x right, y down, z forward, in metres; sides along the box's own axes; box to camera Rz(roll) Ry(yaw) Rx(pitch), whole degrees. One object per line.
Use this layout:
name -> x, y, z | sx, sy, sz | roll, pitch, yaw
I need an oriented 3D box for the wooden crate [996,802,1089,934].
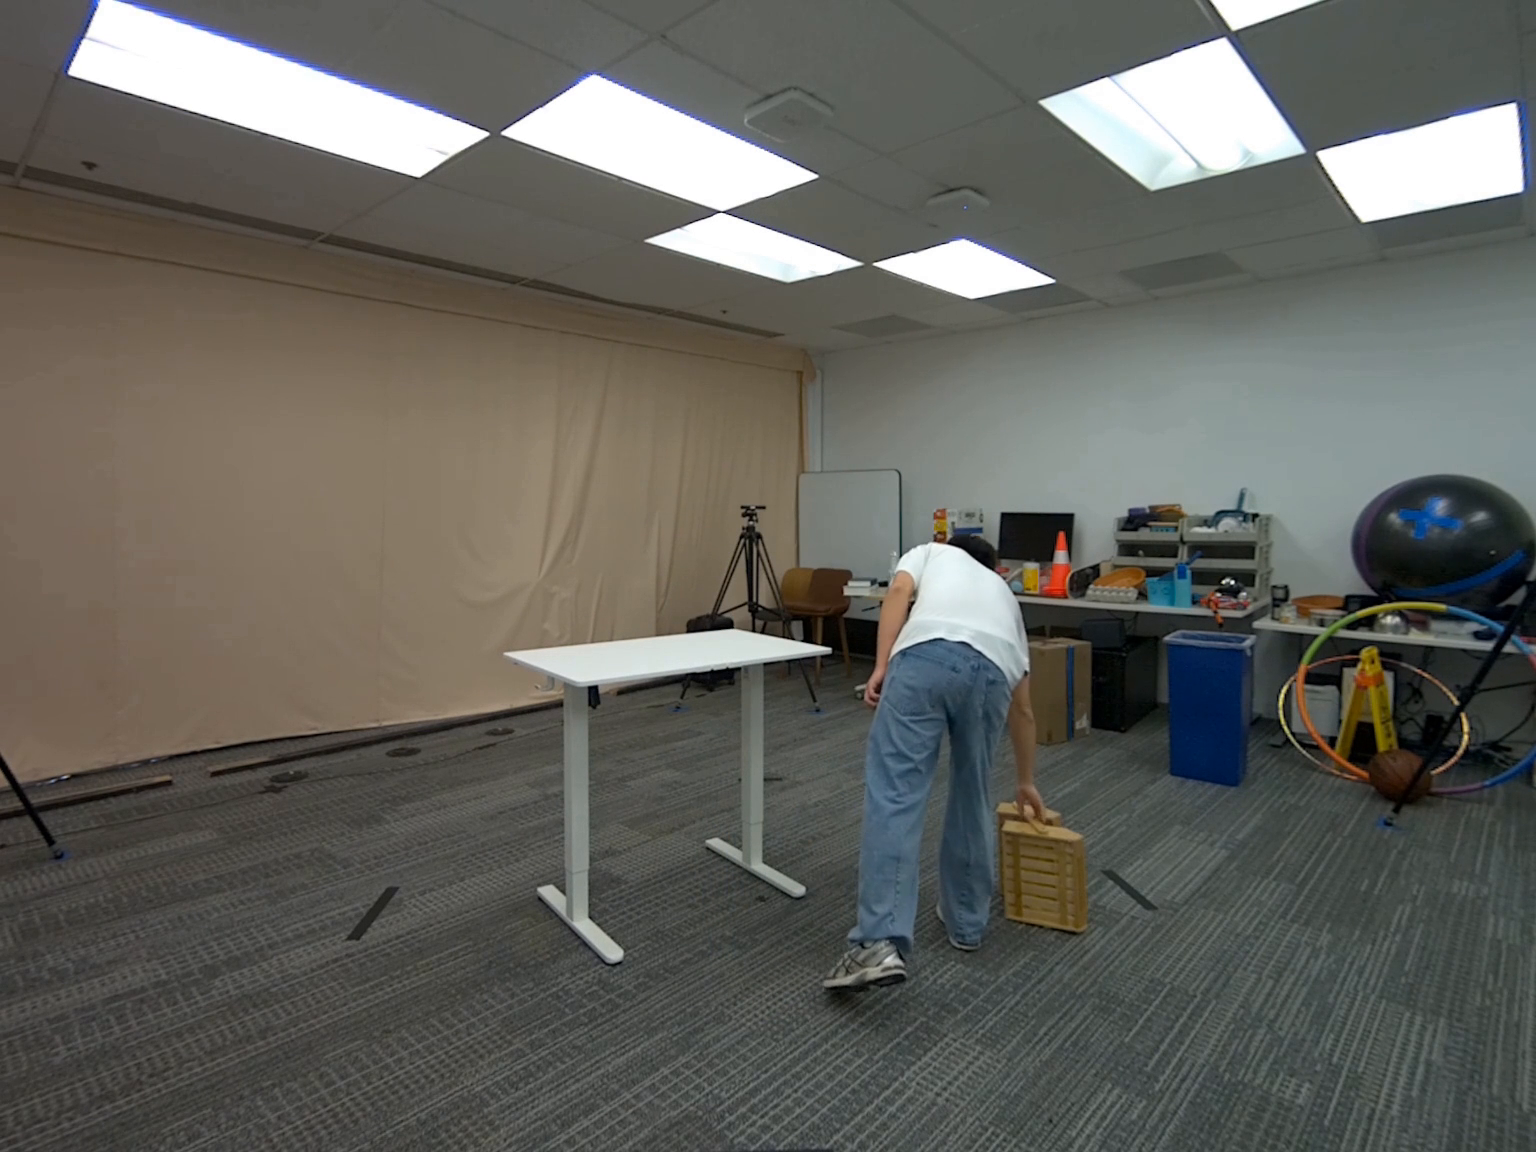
wooden crate -> 0.944, 0.985, 2.886 | 0.310, 0.324, 0.267 | 0, 4, 26
